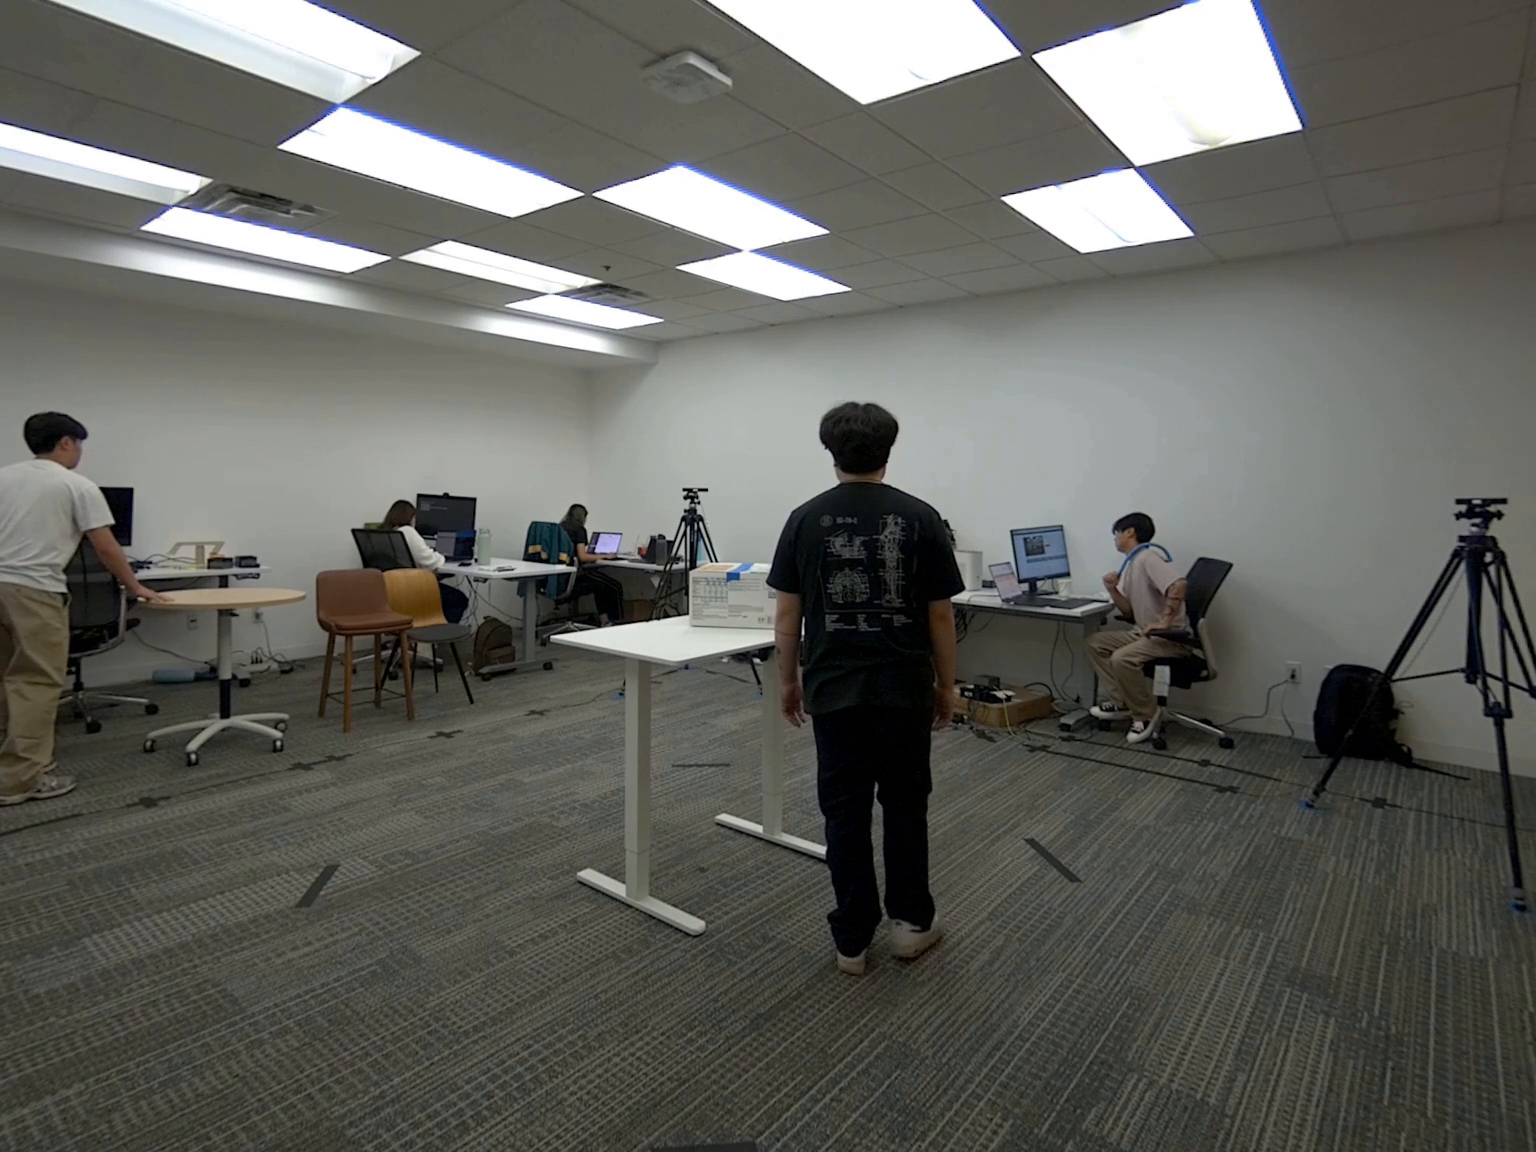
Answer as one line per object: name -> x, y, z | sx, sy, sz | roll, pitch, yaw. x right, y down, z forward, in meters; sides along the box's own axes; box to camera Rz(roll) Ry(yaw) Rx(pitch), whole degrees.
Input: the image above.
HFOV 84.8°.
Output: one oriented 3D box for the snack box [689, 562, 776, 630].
snack box -> -0.109, 0.065, 3.288 | 0.344, 0.205, 0.403 | 1, 5, 8
